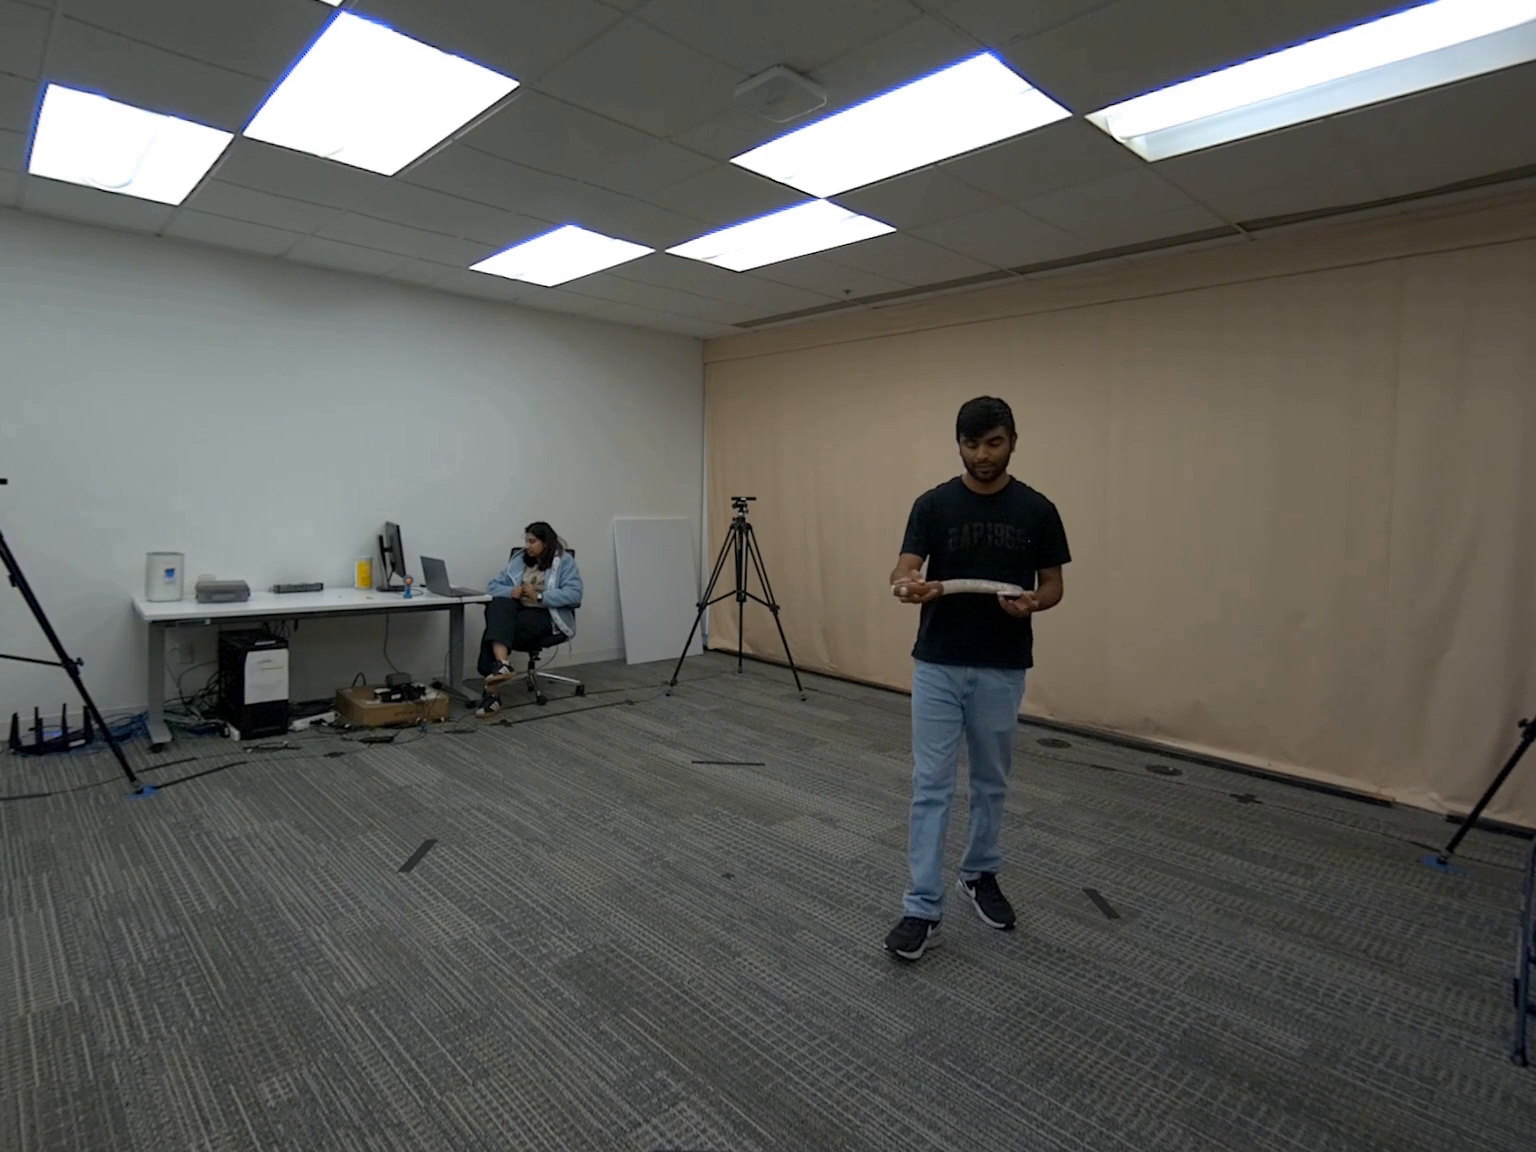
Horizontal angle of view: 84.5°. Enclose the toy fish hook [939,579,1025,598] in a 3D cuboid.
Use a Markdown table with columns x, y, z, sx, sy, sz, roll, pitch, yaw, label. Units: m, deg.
| x | y | z | sx | sy | sz | roll | pitch | yaw | label |
| --- | --- | --- | --- | --- | --- | --- | --- | --- | --- |
| 0.540 | 0.037 | 2.401 | 0.230 | 0.048 | 0.495 | 1 | 3 | 43 | toy fish hook |
